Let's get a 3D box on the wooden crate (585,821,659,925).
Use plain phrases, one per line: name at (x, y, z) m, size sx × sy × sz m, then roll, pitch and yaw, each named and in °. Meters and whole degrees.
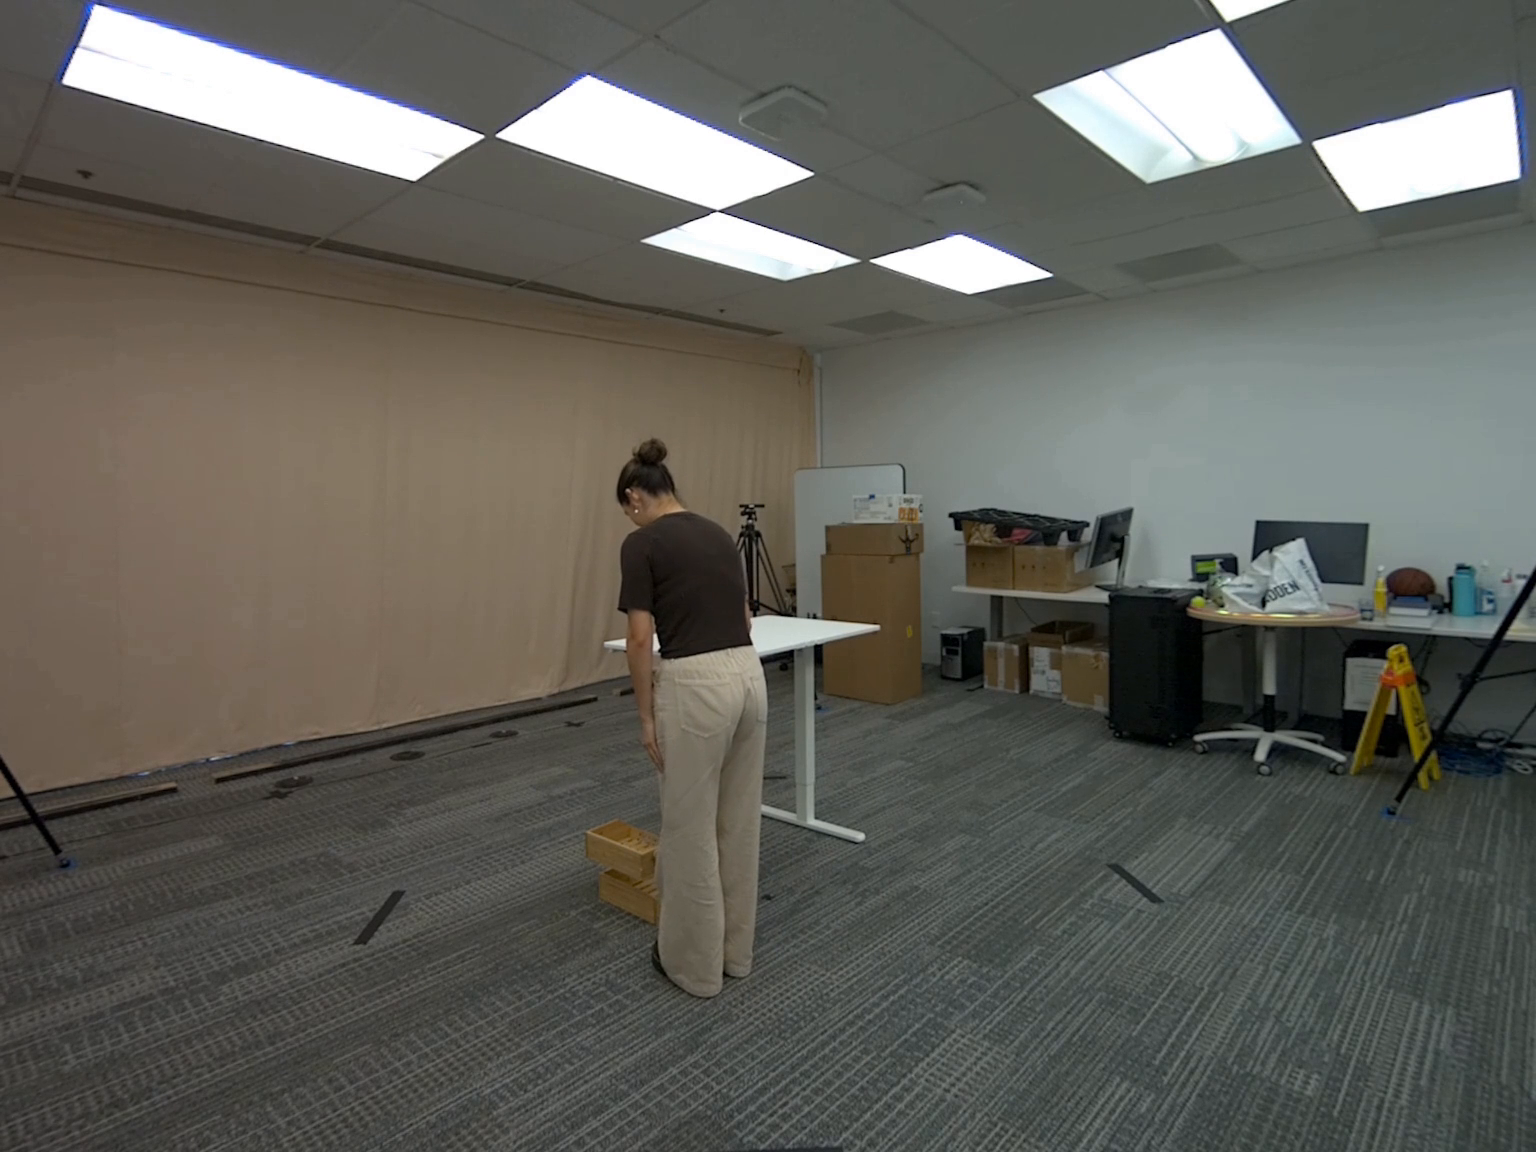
wooden crate at (-0.427, 1.018, 2.966) m, size 0.335 × 0.272 × 0.293 m, roll 2°, pitch 6°, yaw 41°
